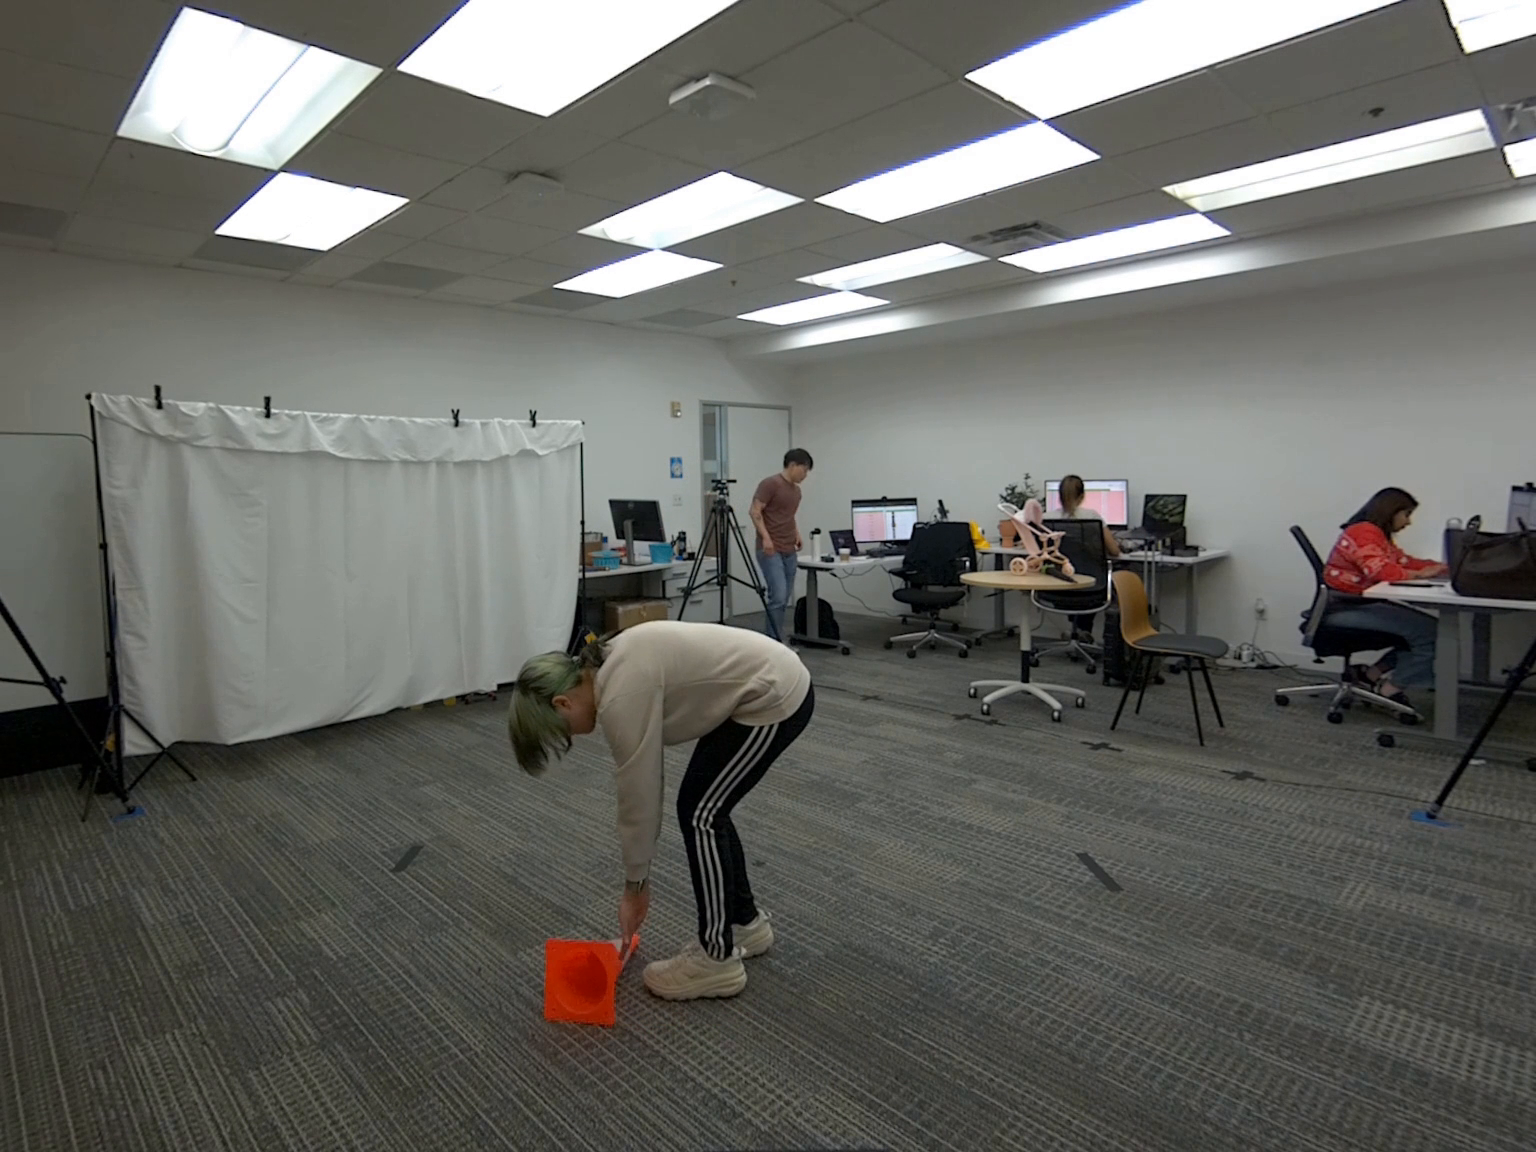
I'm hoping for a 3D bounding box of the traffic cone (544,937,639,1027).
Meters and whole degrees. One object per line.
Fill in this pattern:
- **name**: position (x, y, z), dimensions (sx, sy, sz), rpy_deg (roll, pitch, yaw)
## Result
- **traffic cone**: position (-0.439, 1.090, 2.409), dimensions (0.206, 0.207, 0.375), rpy_deg (-3, -9, 14)
